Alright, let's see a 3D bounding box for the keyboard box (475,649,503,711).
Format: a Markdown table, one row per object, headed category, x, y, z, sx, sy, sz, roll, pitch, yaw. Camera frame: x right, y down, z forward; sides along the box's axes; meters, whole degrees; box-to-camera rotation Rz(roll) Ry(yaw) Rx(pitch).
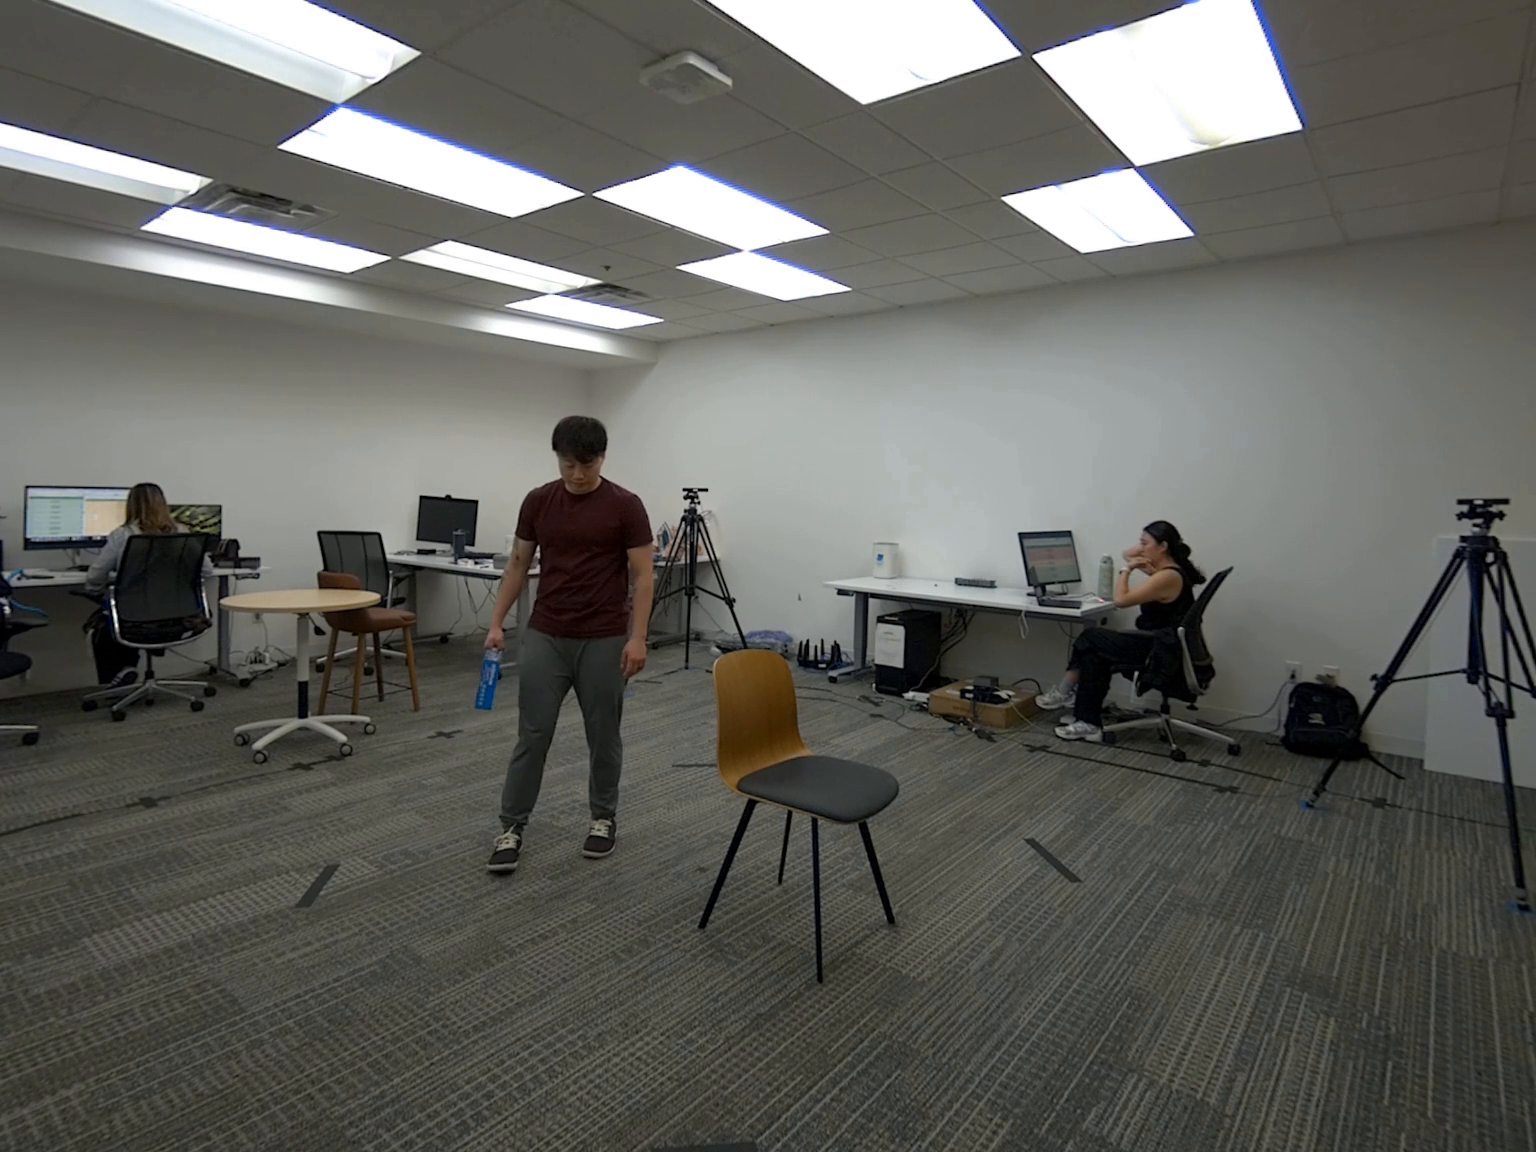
| category | x | y | z | sx | sy | sz | roll | pitch | yaw |
| --- | --- | --- | --- | --- | --- | --- | --- | --- | --- |
| keyboard box | -1.045 | 0.372 | 3.194 | 0.058 | 0.176 | 0.444 | 10 | 0 | -16 |
